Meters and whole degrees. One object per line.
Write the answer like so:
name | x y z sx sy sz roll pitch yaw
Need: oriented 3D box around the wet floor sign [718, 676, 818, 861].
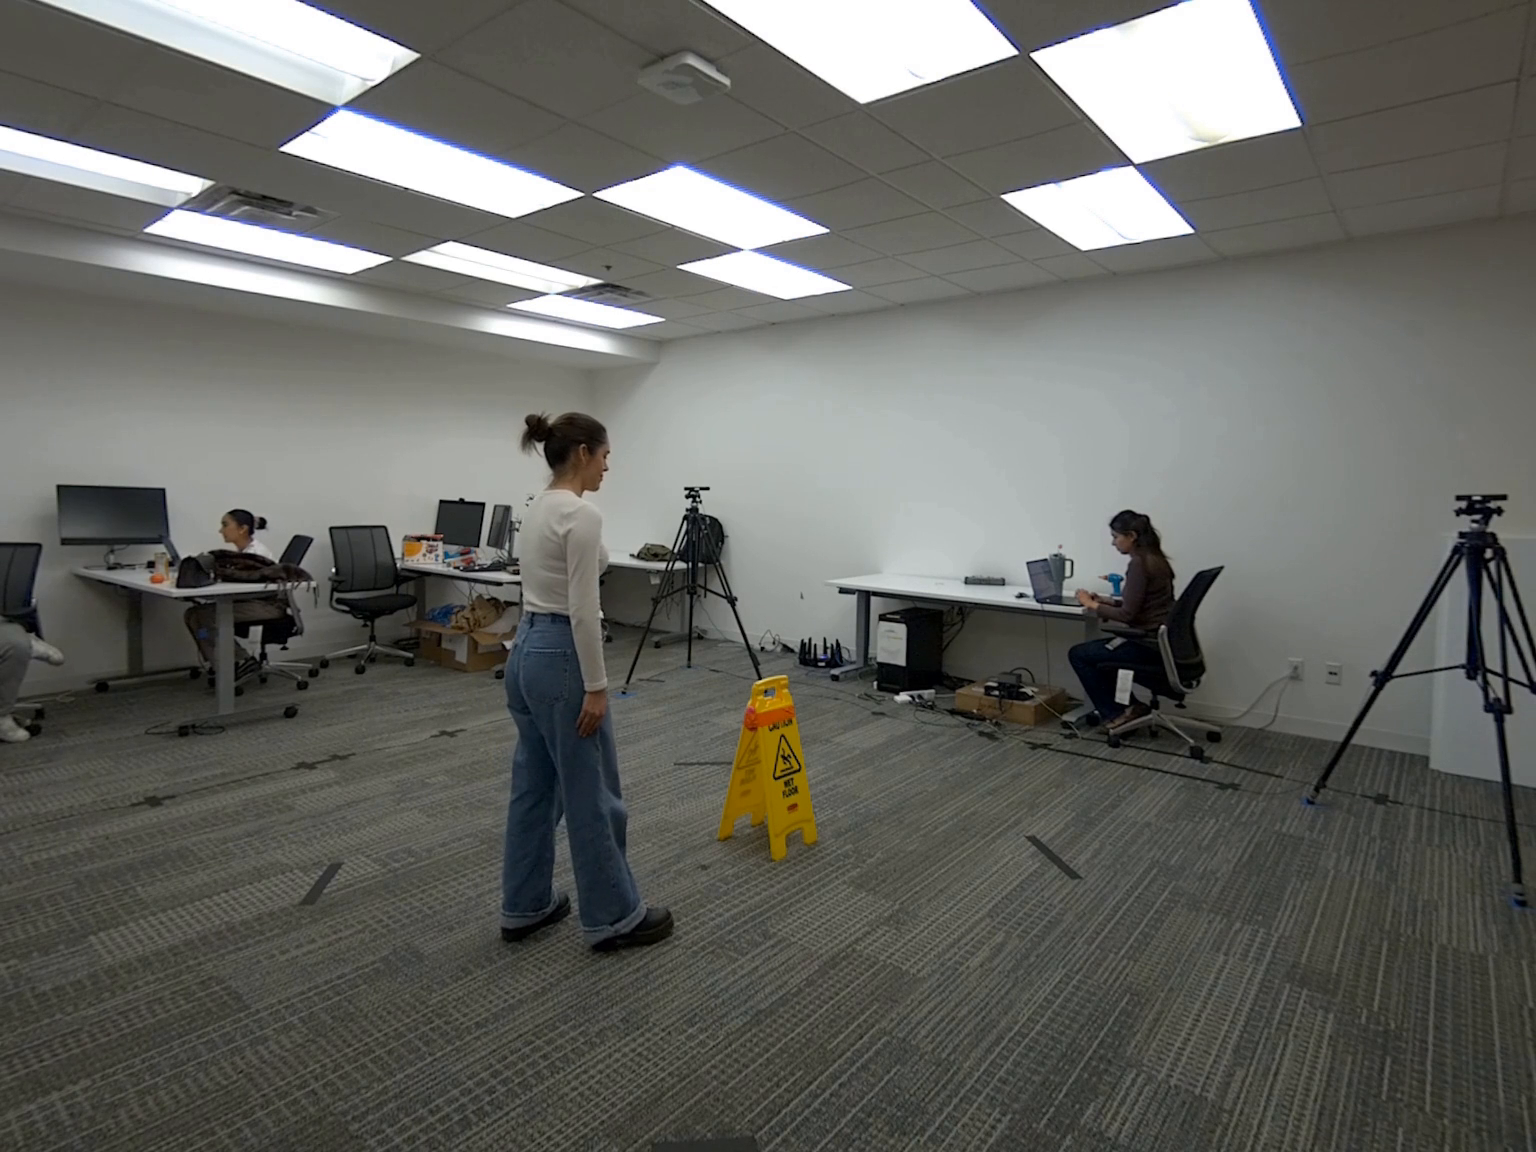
wet floor sign | 0.001 0.720 3.355 0.299 0.644 0.274 4 5 40
